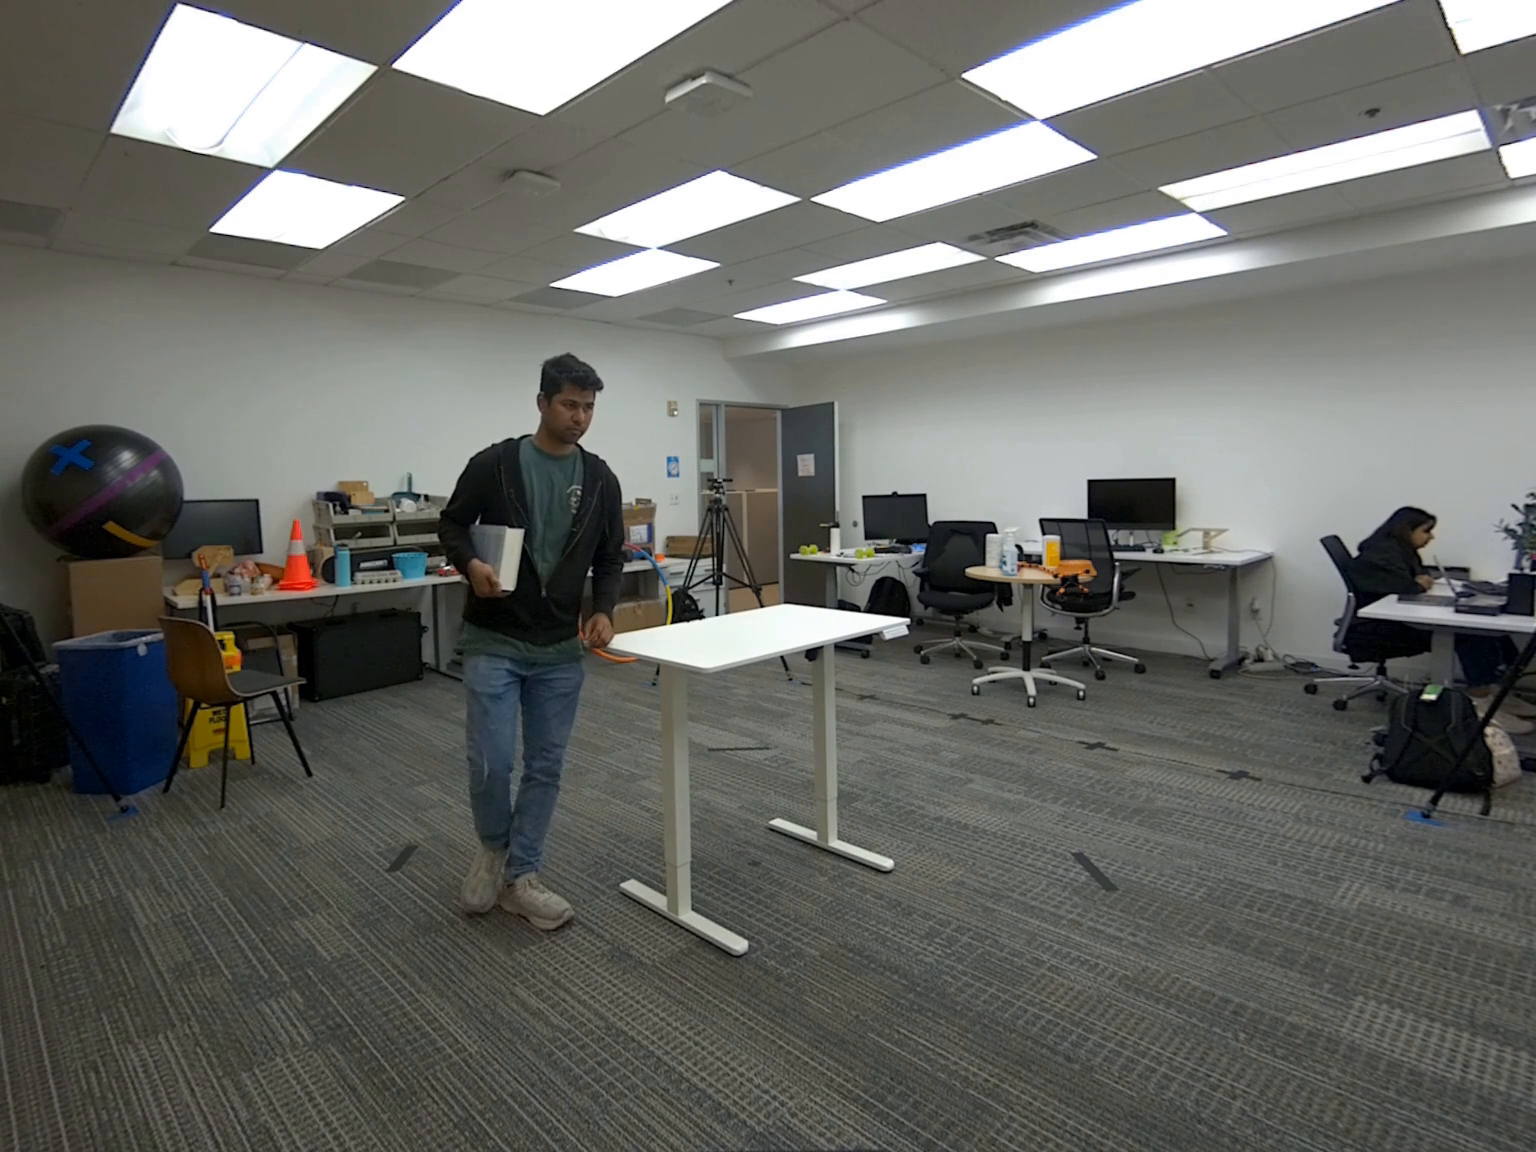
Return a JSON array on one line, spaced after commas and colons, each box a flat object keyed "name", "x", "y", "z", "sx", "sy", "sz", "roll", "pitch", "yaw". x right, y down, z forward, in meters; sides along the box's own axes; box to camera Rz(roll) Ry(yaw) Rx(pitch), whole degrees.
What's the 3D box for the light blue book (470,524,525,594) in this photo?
[{"name": "light blue book", "x": -0.850, "y": -0.060, "z": 2.637, "sx": 0.057, "sy": 0.192, "sz": 0.269, "roll": 12, "pitch": -4, "yaw": -38}]
